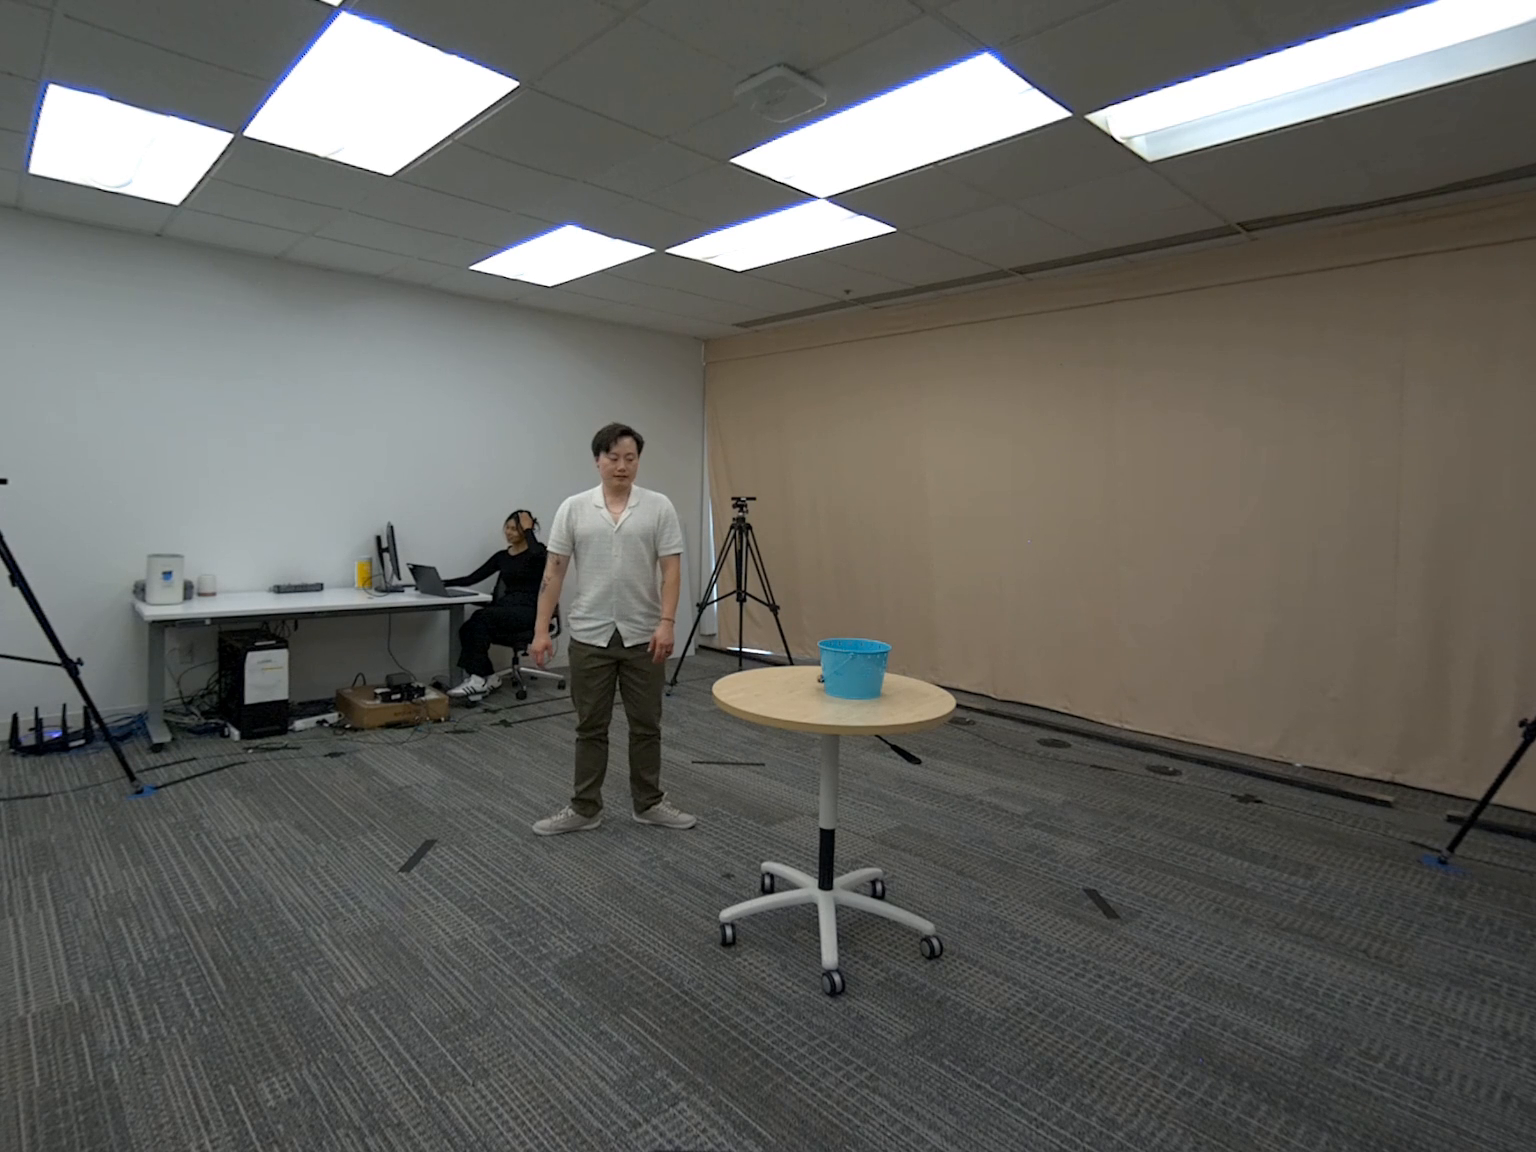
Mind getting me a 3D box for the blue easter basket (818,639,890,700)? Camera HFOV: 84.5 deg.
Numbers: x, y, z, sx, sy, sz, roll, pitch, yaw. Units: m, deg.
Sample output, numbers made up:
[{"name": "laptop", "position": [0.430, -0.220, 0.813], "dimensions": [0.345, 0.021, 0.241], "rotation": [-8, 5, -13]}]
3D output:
[{"name": "blue easter basket", "position": [0.268, 0.299, 2.680], "dimensions": [0.243, 0.155, 0.244], "rotation": [2, 5, -2]}]
